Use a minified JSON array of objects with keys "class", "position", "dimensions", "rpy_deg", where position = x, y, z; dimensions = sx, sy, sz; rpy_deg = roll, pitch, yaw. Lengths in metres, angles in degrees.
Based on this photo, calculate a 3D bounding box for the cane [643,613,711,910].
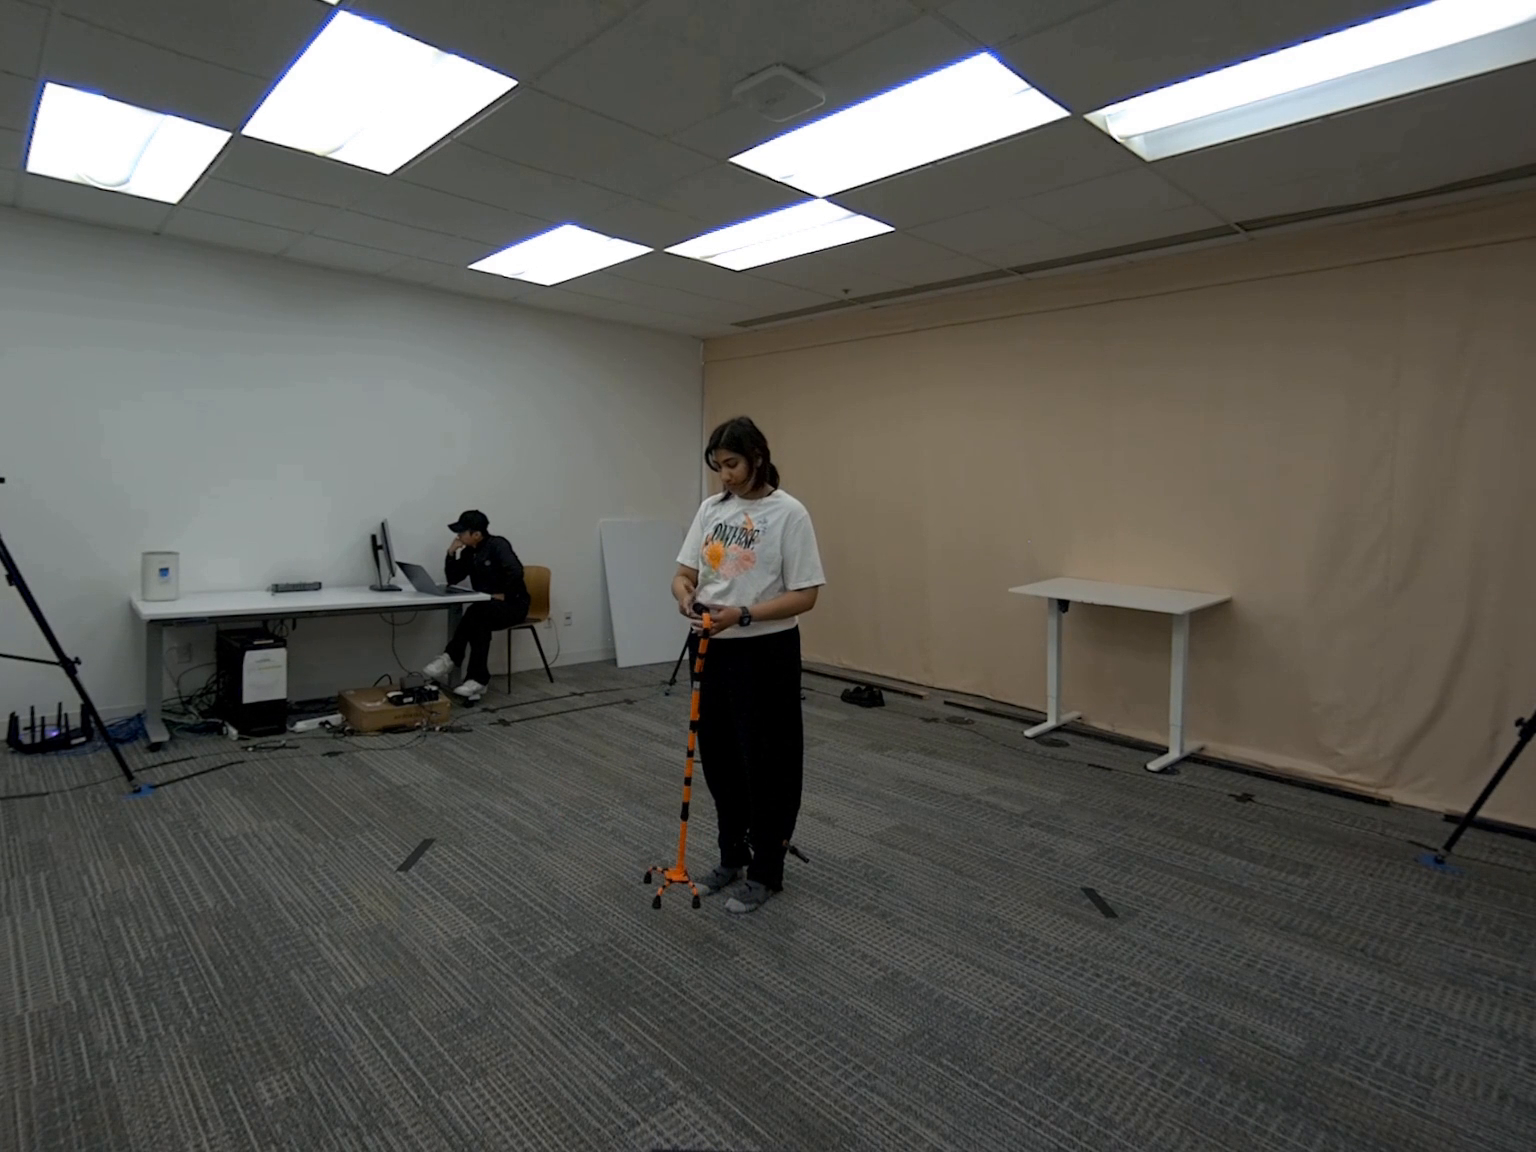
[{"class":"cane","position":[-0.266,0.568,2.629],"dimensions":[0.149,0.907,0.210],"rpy_deg":[5,2,-18]}]
